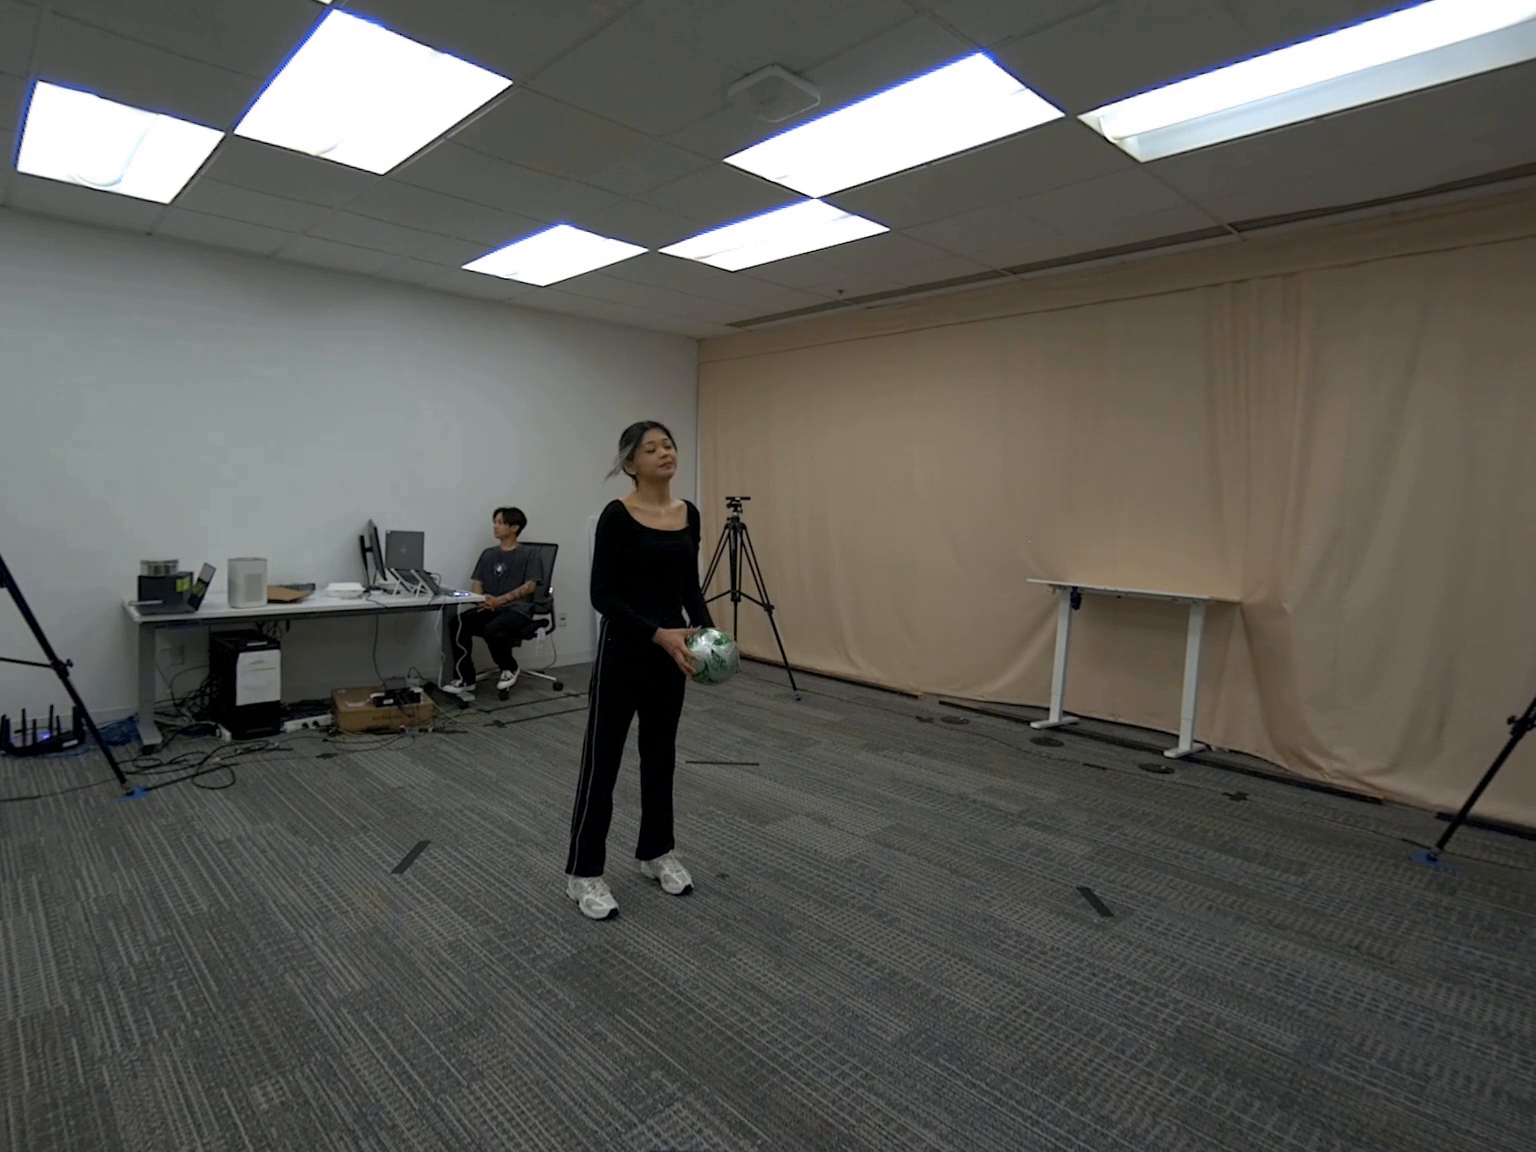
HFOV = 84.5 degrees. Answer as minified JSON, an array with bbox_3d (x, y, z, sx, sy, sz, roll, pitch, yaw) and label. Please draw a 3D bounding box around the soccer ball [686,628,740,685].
[{"bbox_3d":[-0.202,0.252,2.720,0.187,0.187,0.188,1,4,-1],"label":"soccer ball"}]
